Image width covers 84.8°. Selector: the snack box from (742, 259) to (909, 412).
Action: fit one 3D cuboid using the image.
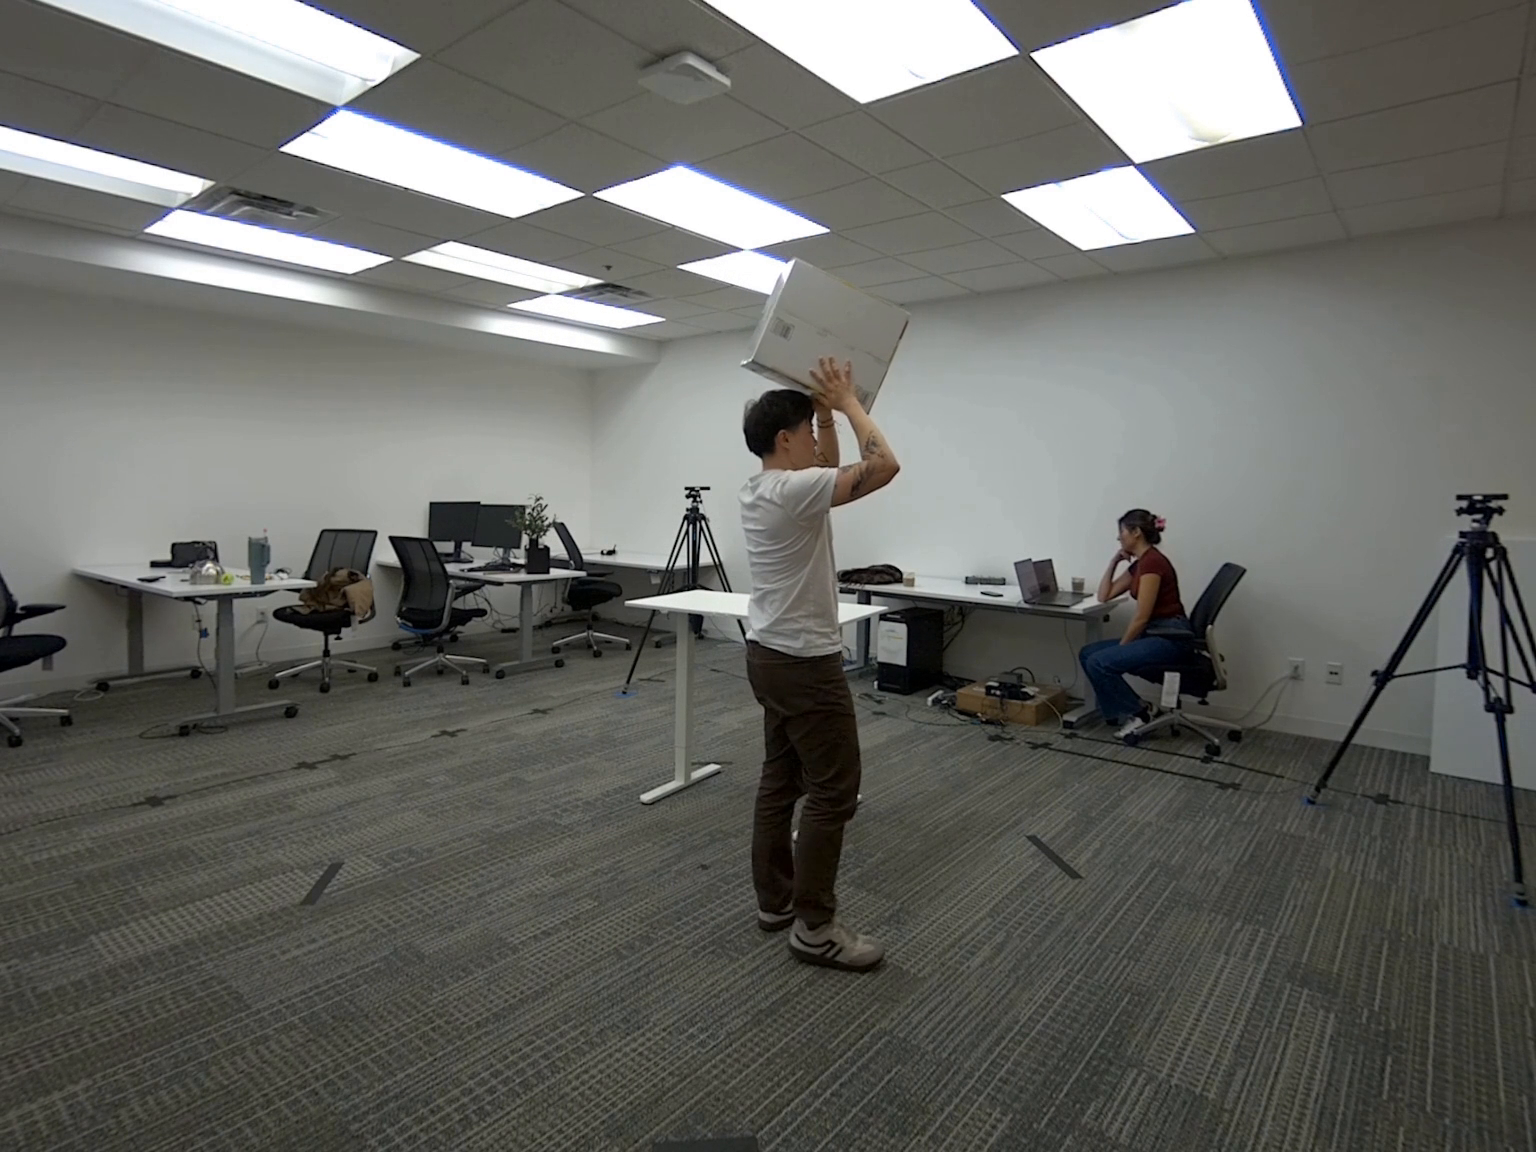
[{"bbox_3d":[0.168,-0.748,2.683,0.399,0.340,0.209,23,2,-12],"label":"snack box"}]
